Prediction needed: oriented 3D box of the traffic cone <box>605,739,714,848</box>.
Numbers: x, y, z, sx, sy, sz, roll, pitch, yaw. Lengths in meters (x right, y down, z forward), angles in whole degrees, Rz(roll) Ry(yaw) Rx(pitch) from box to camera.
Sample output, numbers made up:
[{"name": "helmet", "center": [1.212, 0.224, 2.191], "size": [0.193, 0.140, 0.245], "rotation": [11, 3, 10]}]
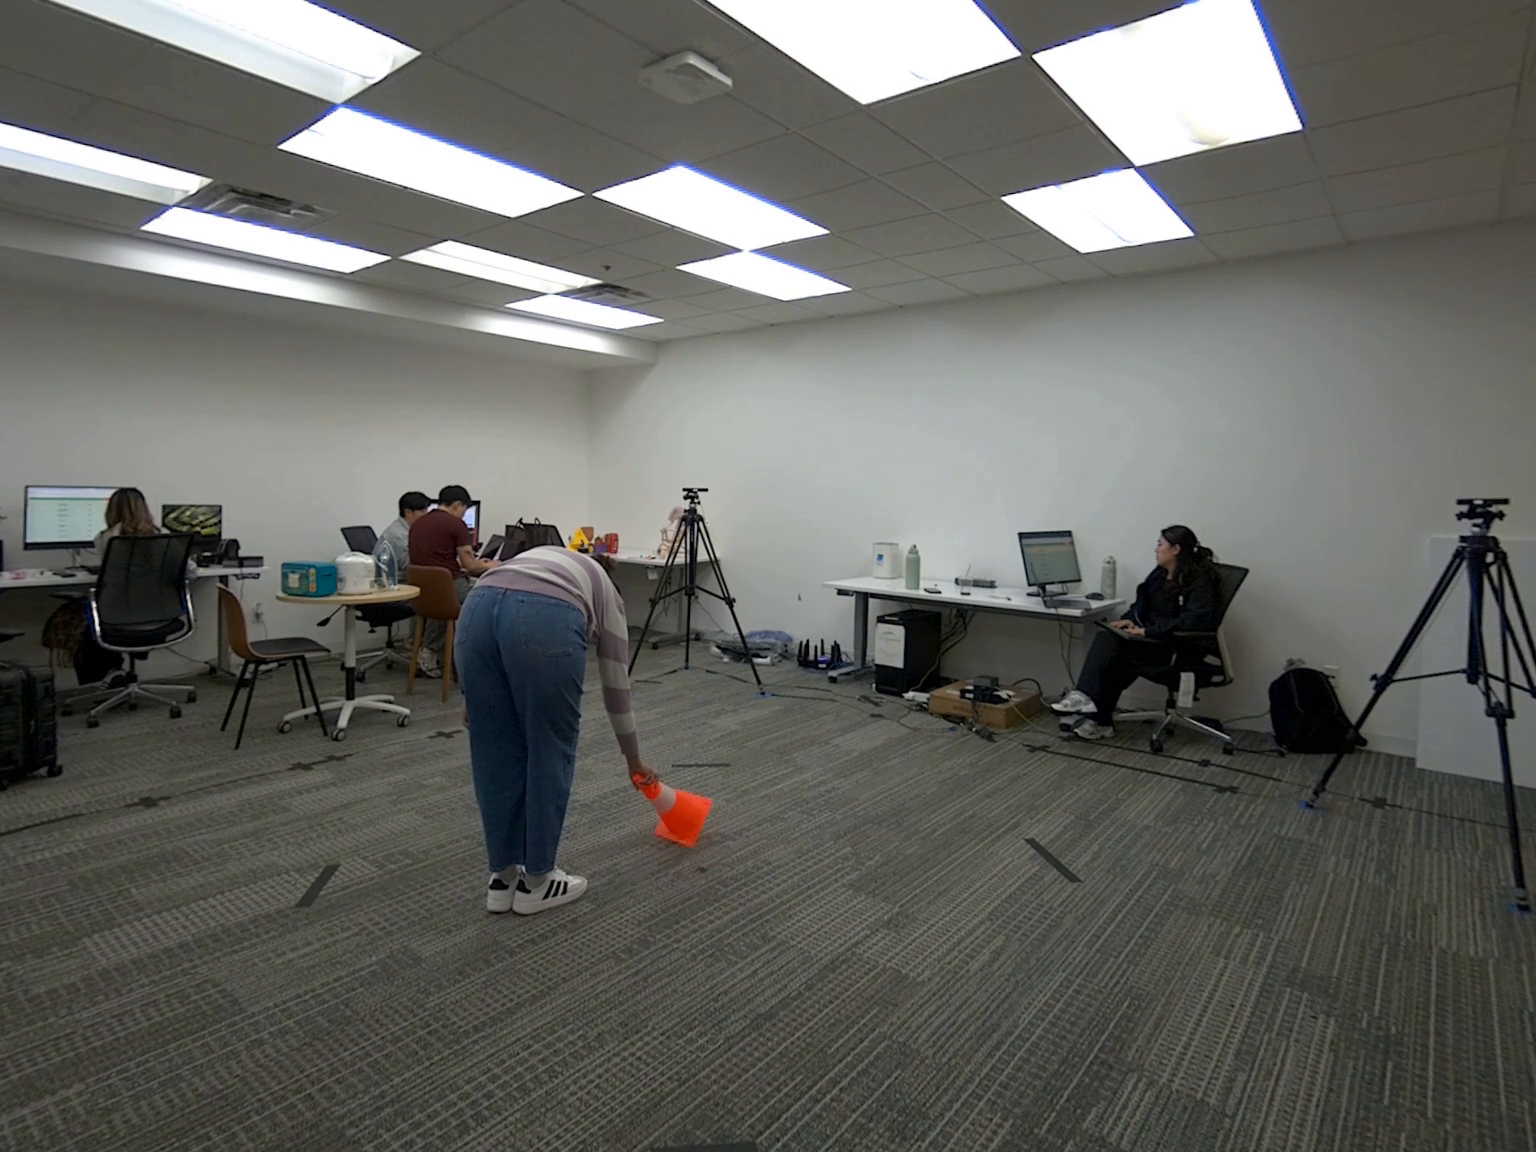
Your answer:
[{"name": "traffic cone", "center": [-0.418, 0.846, 3.279], "size": [0.211, 0.206, 0.368], "rotation": [15, -32, 37]}]
